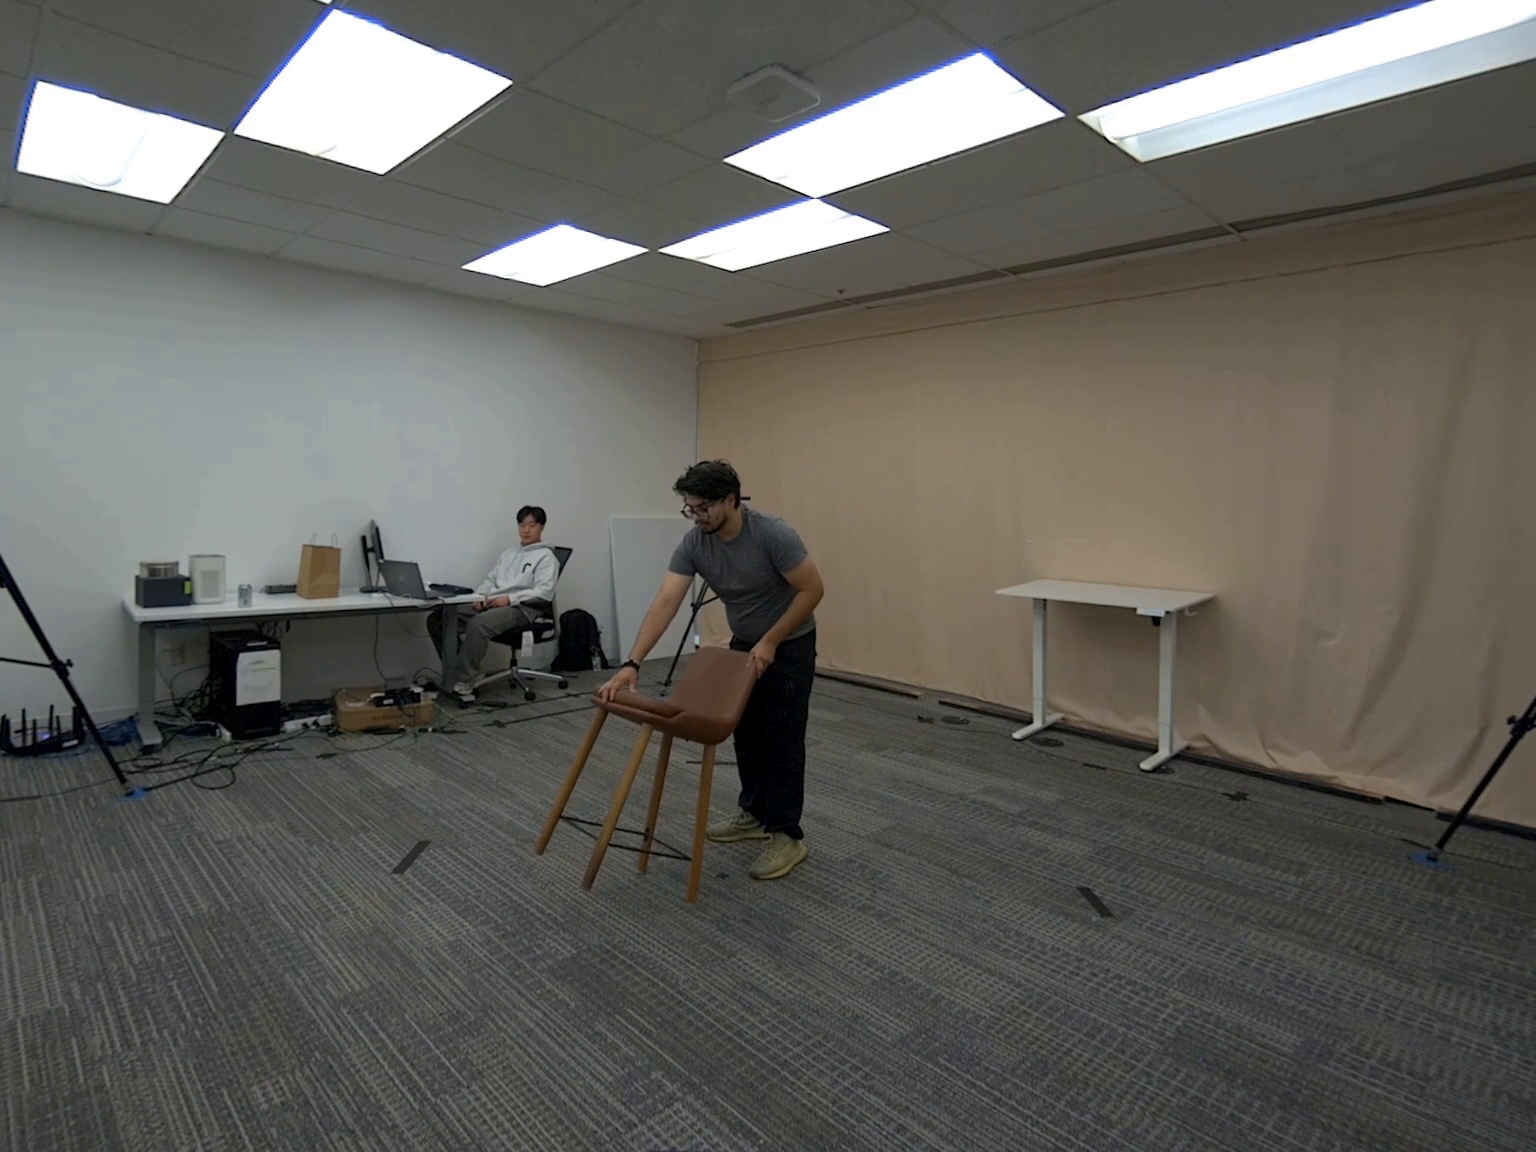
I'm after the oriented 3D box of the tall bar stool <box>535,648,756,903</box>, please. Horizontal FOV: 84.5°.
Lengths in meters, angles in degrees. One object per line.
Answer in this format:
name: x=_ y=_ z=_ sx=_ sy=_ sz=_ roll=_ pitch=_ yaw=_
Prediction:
tall bar stool: x=-0.408 y=0.626 z=2.946 sx=0.454 sy=0.895 sz=0.467 roll=25 pitch=-15 yaw=-34
